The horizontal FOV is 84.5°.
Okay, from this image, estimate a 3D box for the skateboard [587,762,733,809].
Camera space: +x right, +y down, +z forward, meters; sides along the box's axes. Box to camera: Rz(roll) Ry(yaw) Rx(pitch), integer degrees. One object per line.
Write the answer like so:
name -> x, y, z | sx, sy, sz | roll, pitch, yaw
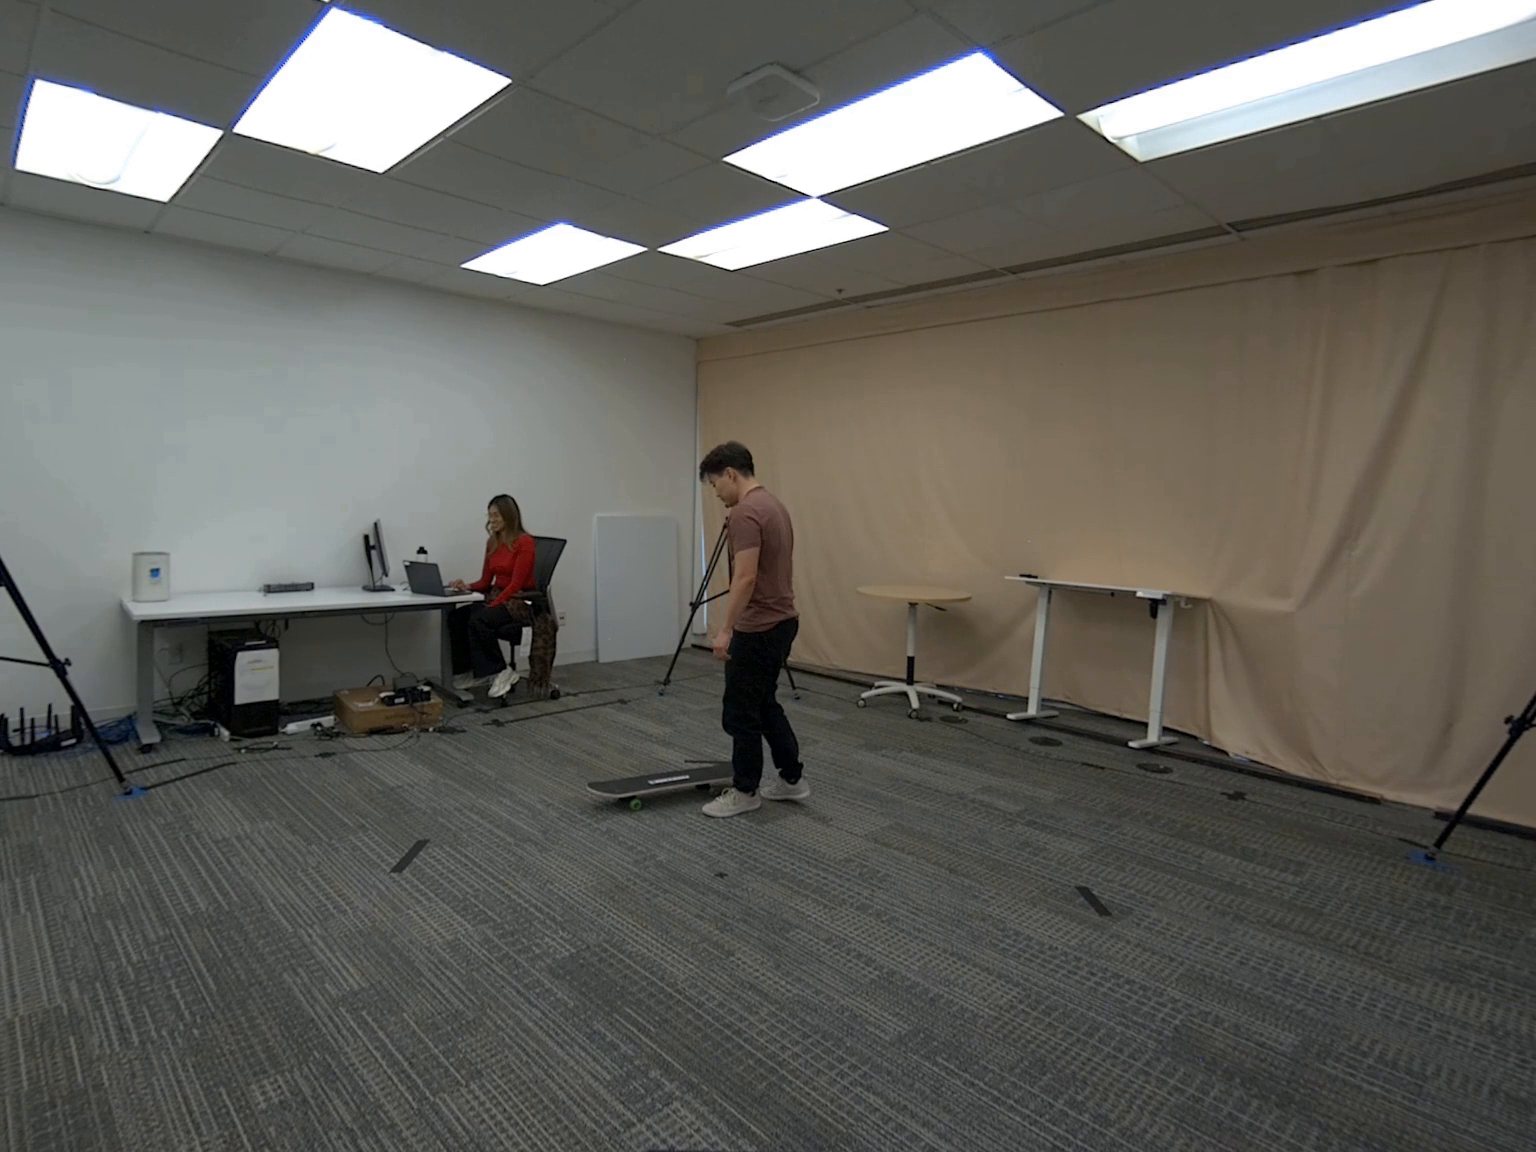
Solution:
skateboard -> -0.468, 0.971, 3.888 | 0.769, 0.110, 0.198 | -1, 6, -30
